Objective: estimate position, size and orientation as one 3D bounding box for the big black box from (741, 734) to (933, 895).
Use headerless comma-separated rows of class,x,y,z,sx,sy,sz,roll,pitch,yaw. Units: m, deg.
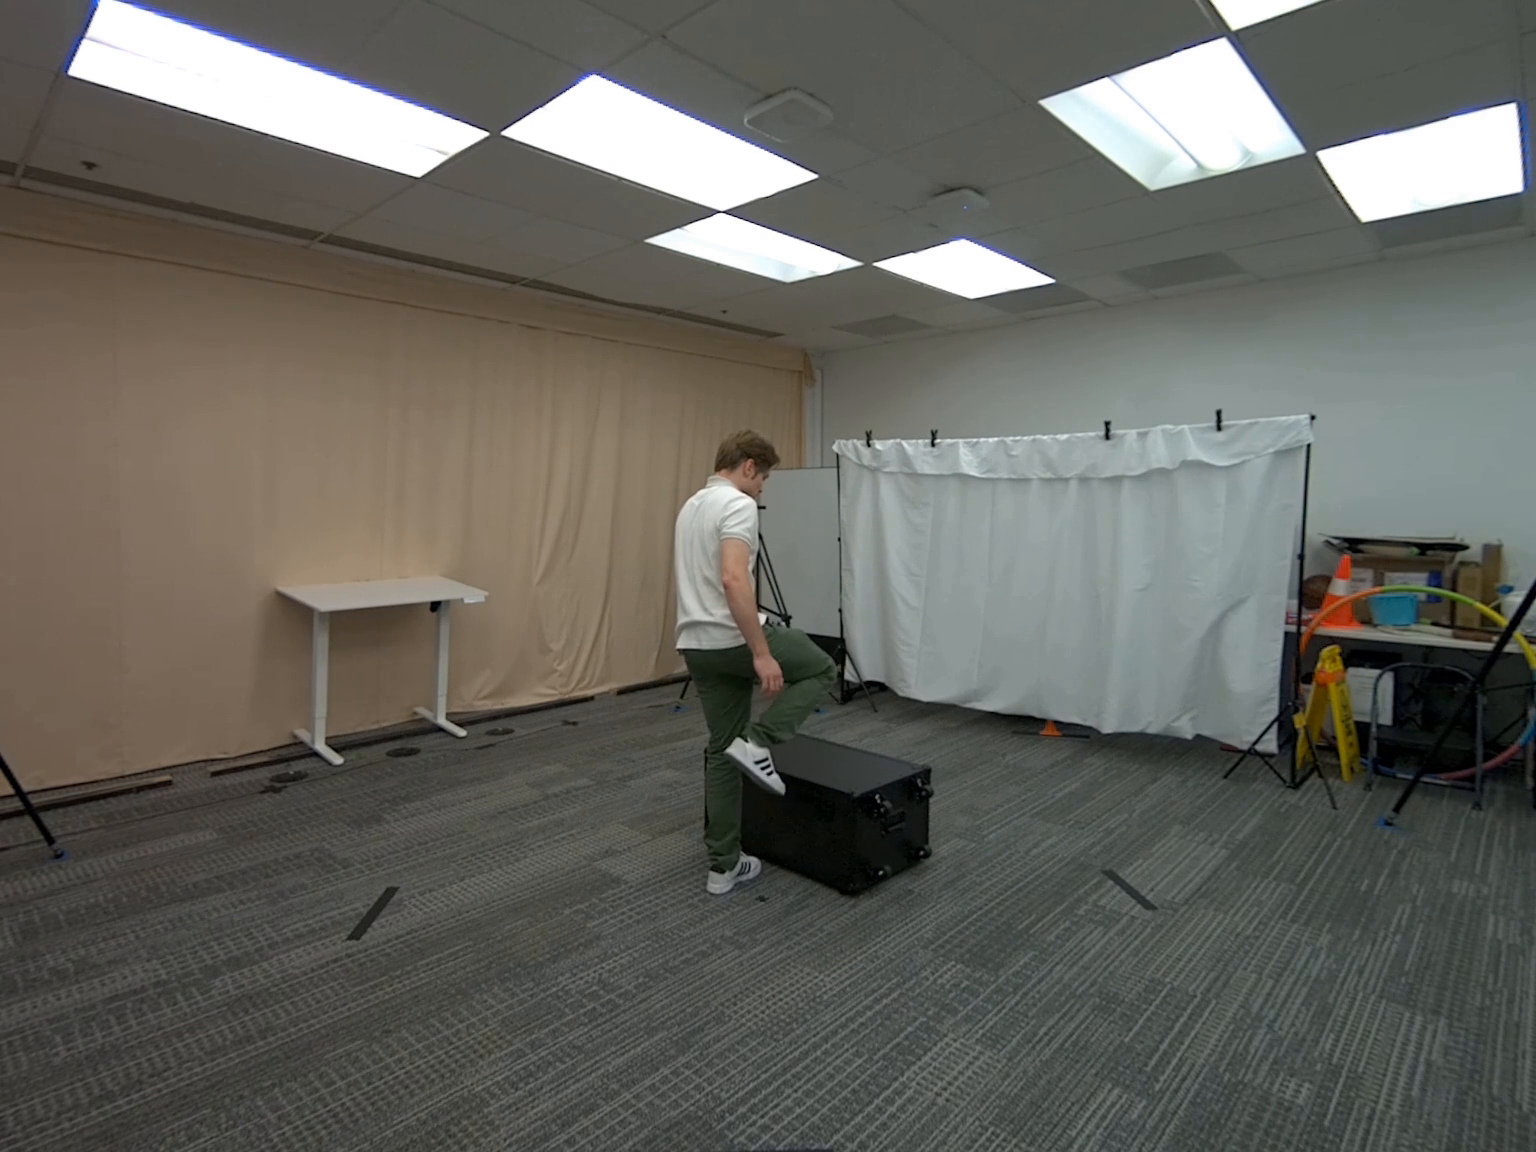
big black box,0.208,0.918,3.376,0.890,0.395,0.505,3,5,44
